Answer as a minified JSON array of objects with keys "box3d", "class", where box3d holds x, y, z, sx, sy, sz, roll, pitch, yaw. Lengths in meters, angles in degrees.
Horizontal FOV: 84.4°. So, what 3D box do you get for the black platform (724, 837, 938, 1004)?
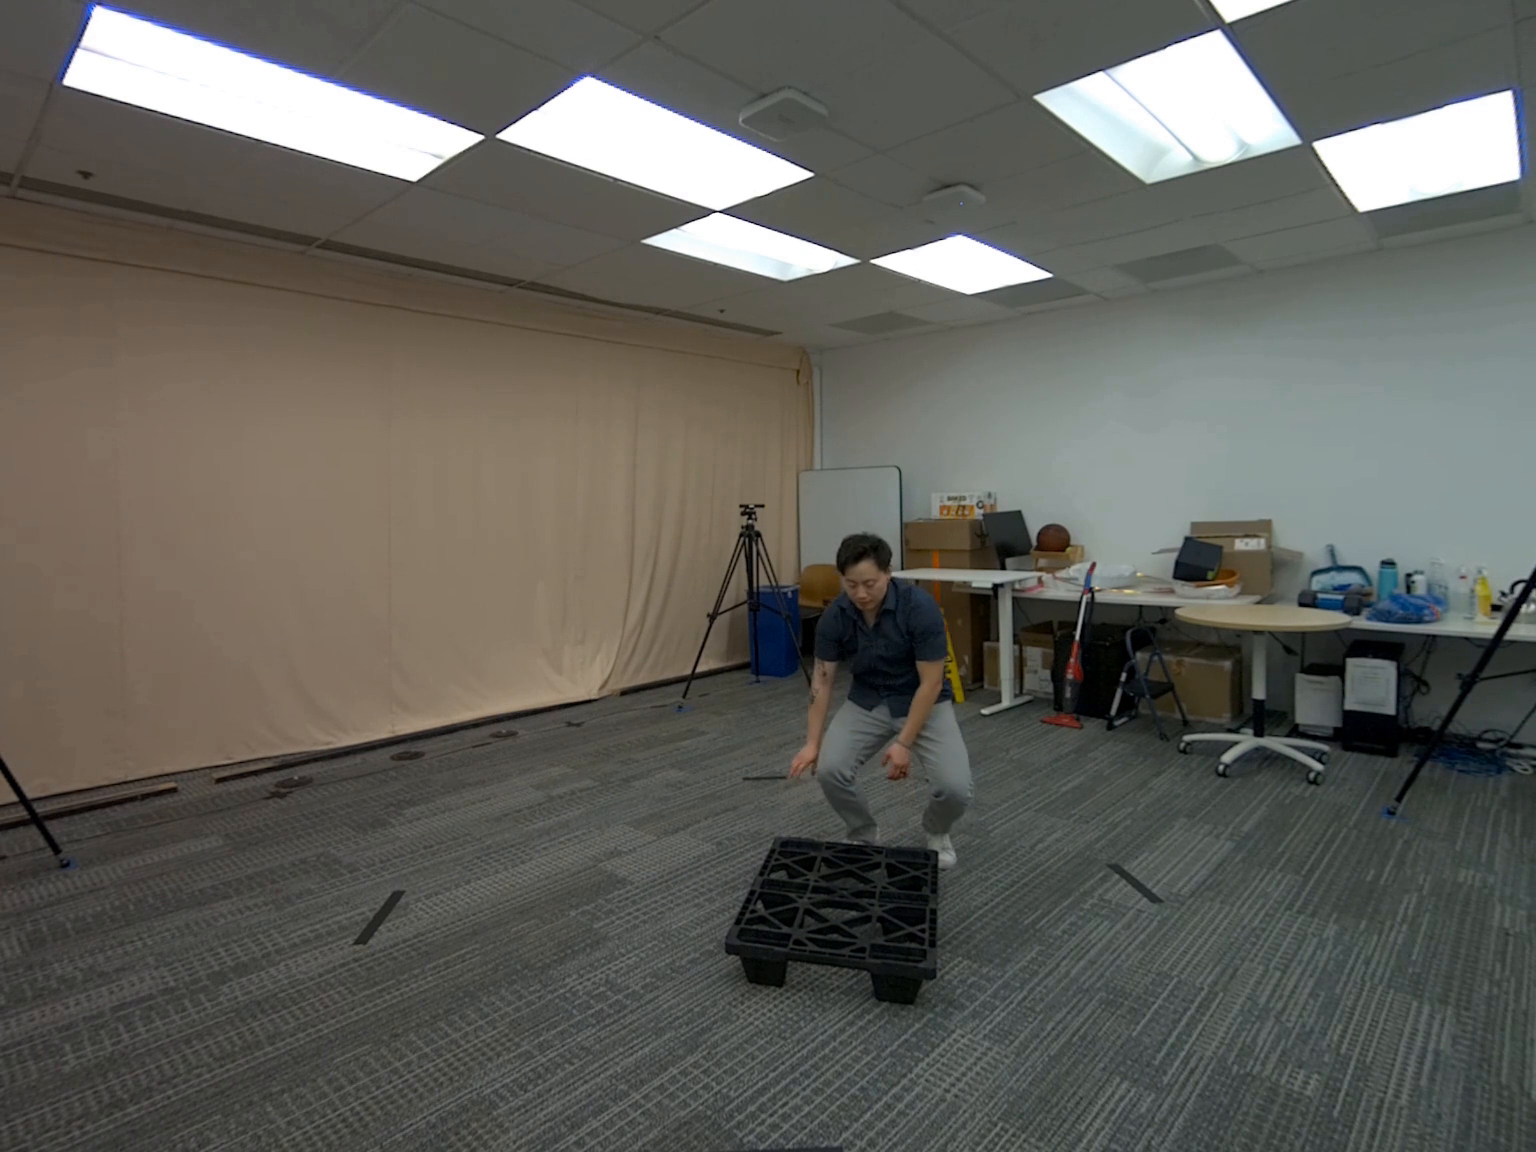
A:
[{"box3d":[0.250,1.087,2.738,0.614,0.143,0.796,1,5,13],"class":"black platform"}]
